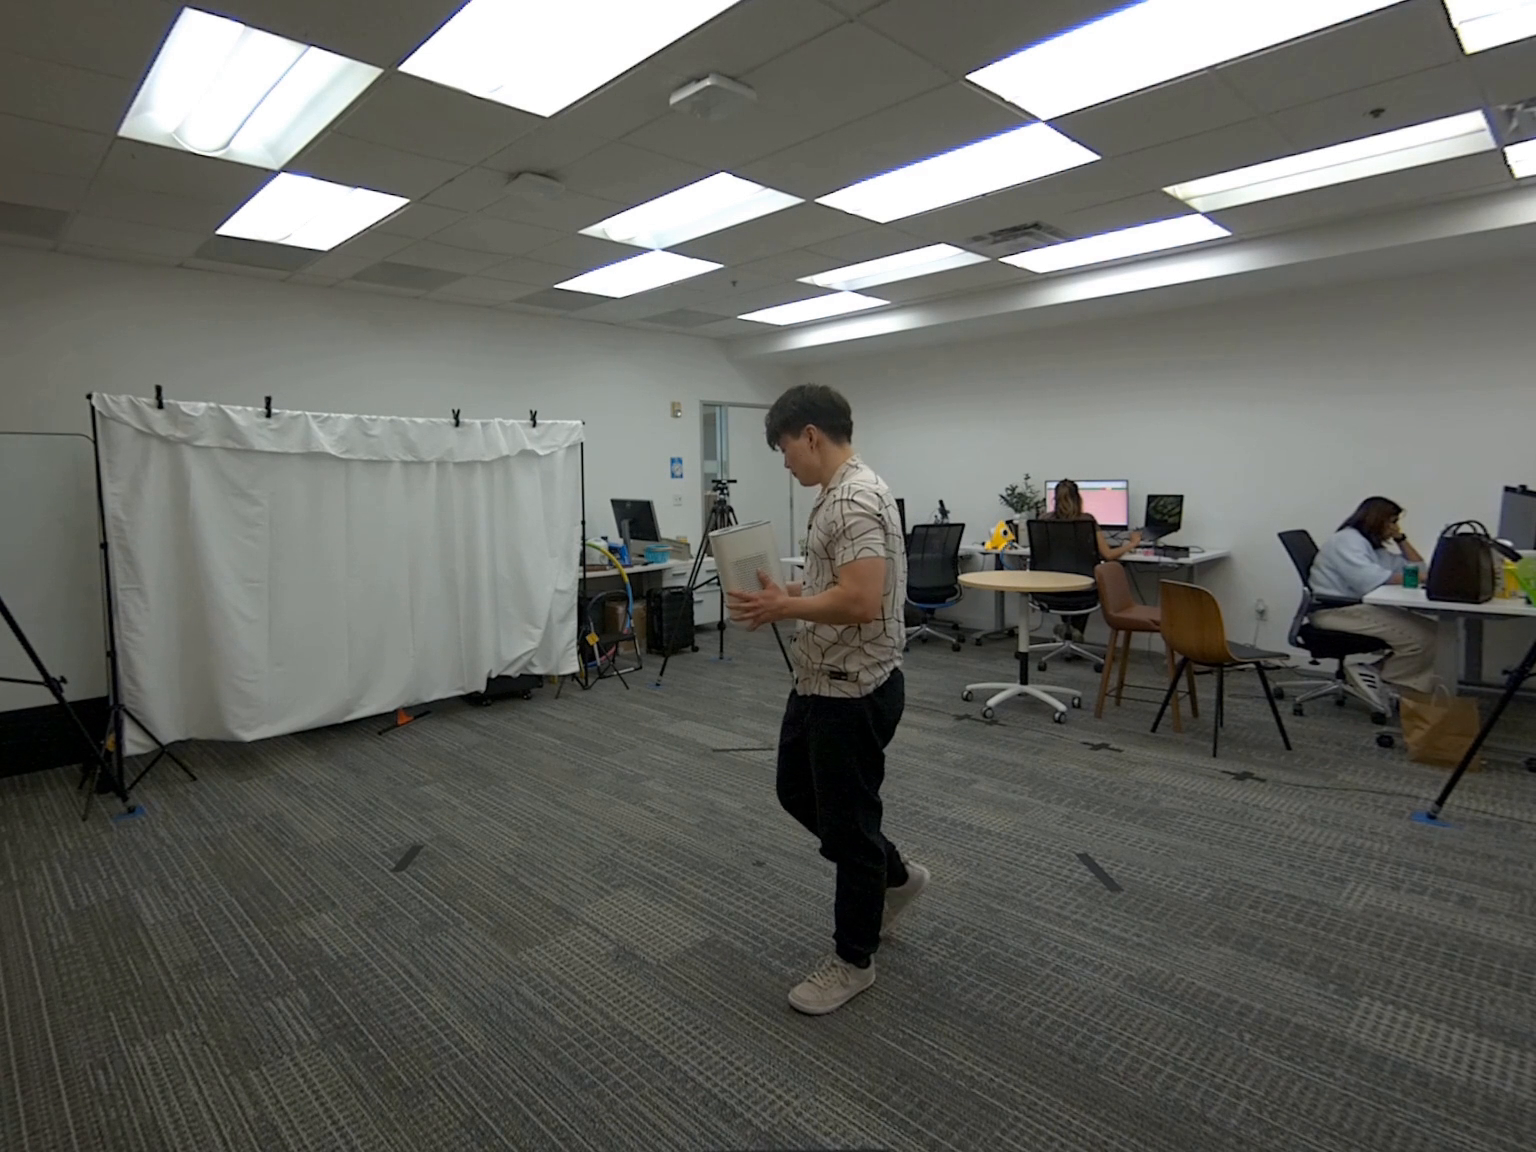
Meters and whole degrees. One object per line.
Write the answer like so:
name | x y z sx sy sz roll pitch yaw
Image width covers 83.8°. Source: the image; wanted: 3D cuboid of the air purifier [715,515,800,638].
air purifier | -0.019 -0.006 2.298 0.171 0.263 0.173 -16 9 -2
